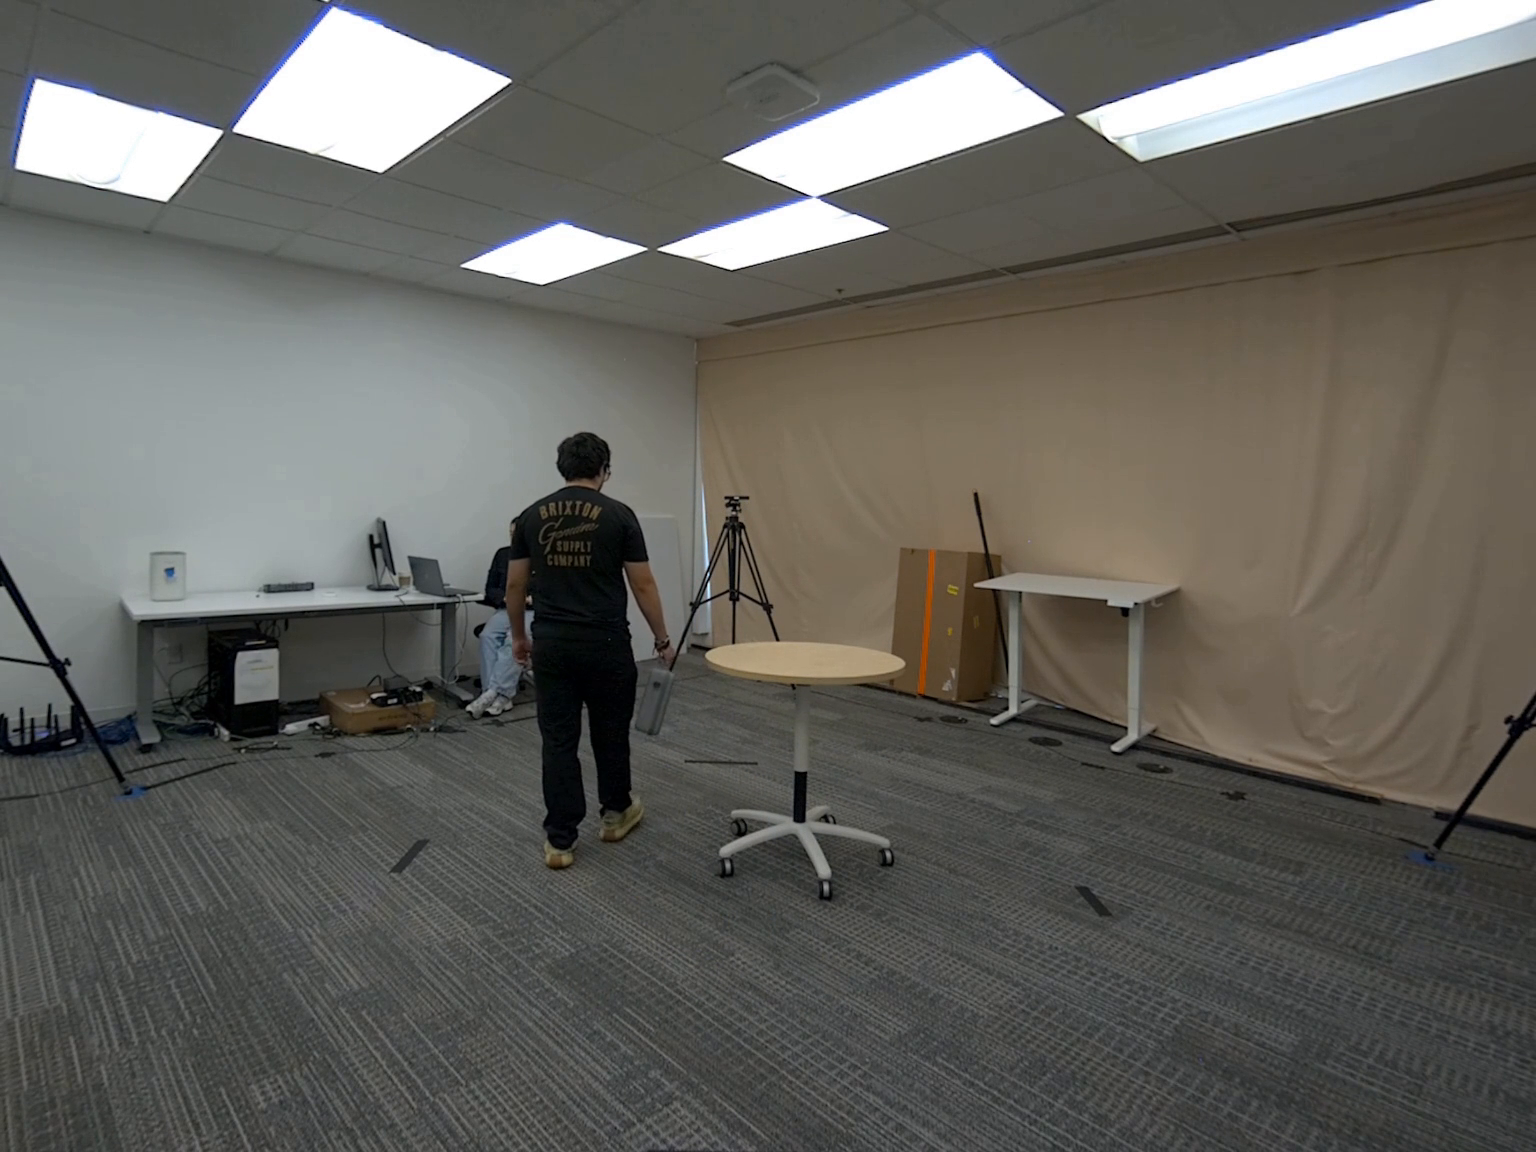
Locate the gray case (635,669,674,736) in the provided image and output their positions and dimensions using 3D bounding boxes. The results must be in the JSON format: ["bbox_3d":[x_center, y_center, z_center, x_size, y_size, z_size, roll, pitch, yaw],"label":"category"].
[{"bbox_3d":[-0.453,0.481,3.366,0.103,0.261,0.258,15,-7,-10],"label":"gray case"}]
